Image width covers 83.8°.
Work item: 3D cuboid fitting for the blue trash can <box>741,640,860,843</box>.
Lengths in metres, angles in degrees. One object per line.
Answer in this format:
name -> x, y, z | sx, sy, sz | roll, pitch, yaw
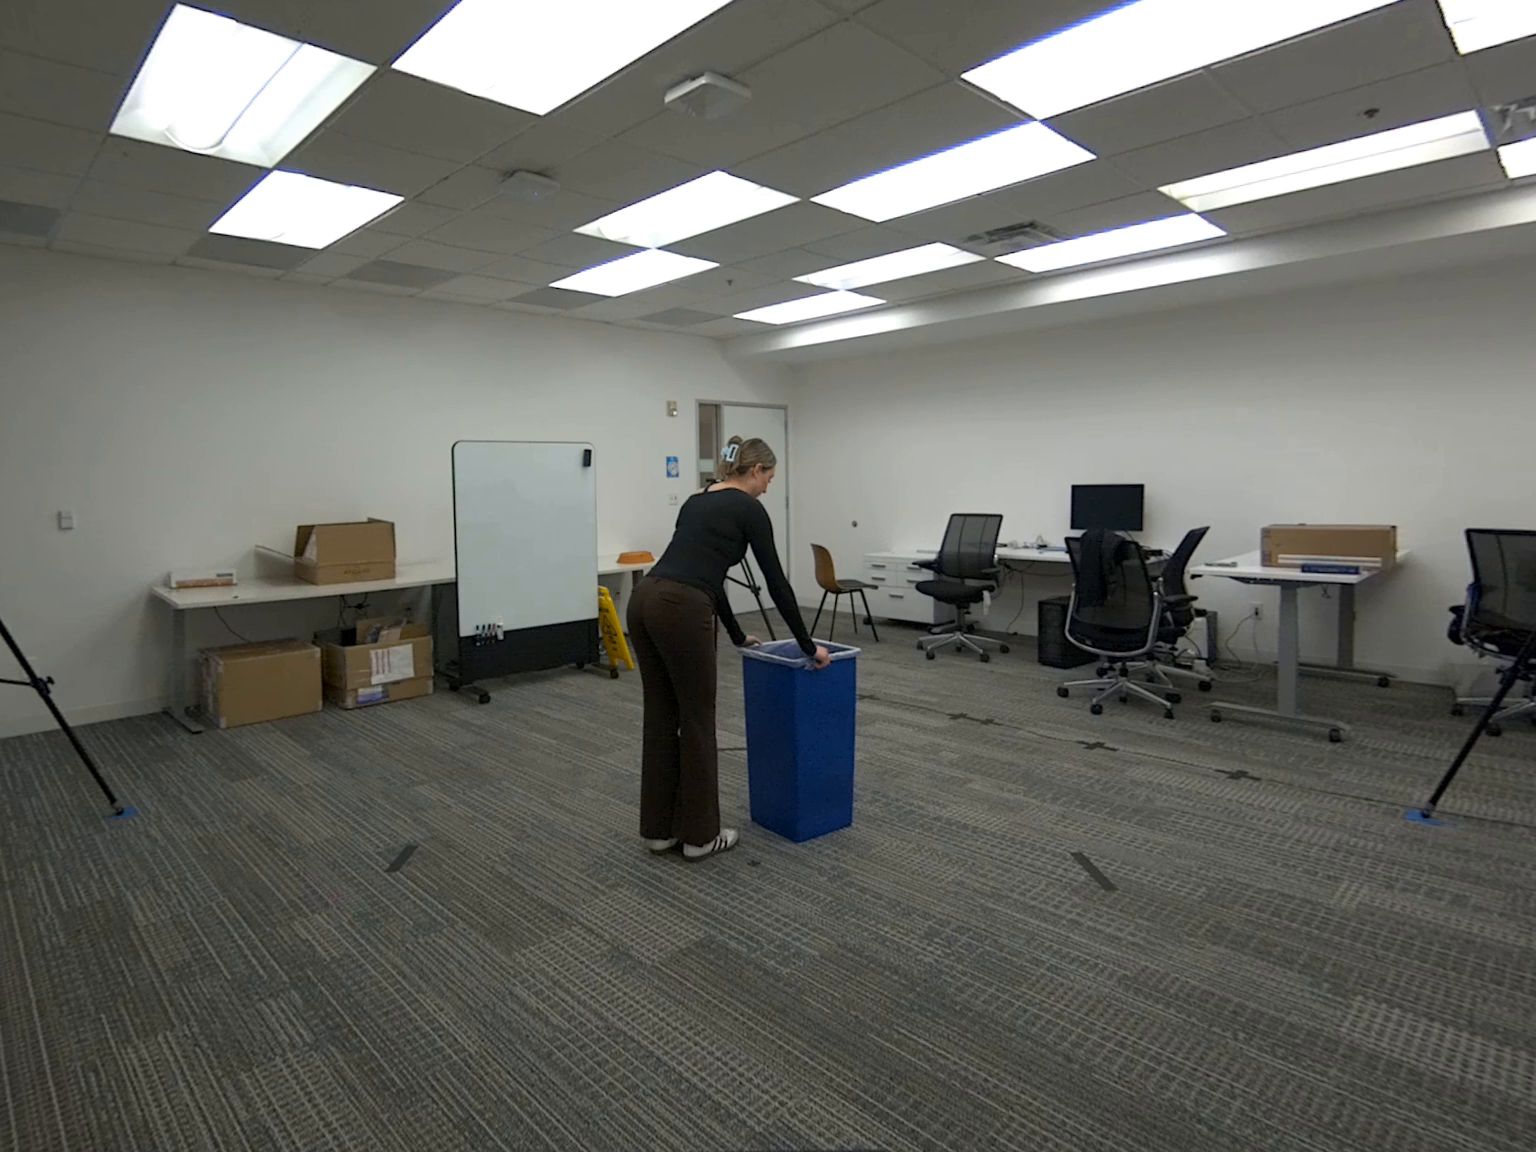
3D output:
blue trash can -> 0.124, 0.644, 3.458 | 0.368, 0.711, 0.385 | -4, 5, -38
